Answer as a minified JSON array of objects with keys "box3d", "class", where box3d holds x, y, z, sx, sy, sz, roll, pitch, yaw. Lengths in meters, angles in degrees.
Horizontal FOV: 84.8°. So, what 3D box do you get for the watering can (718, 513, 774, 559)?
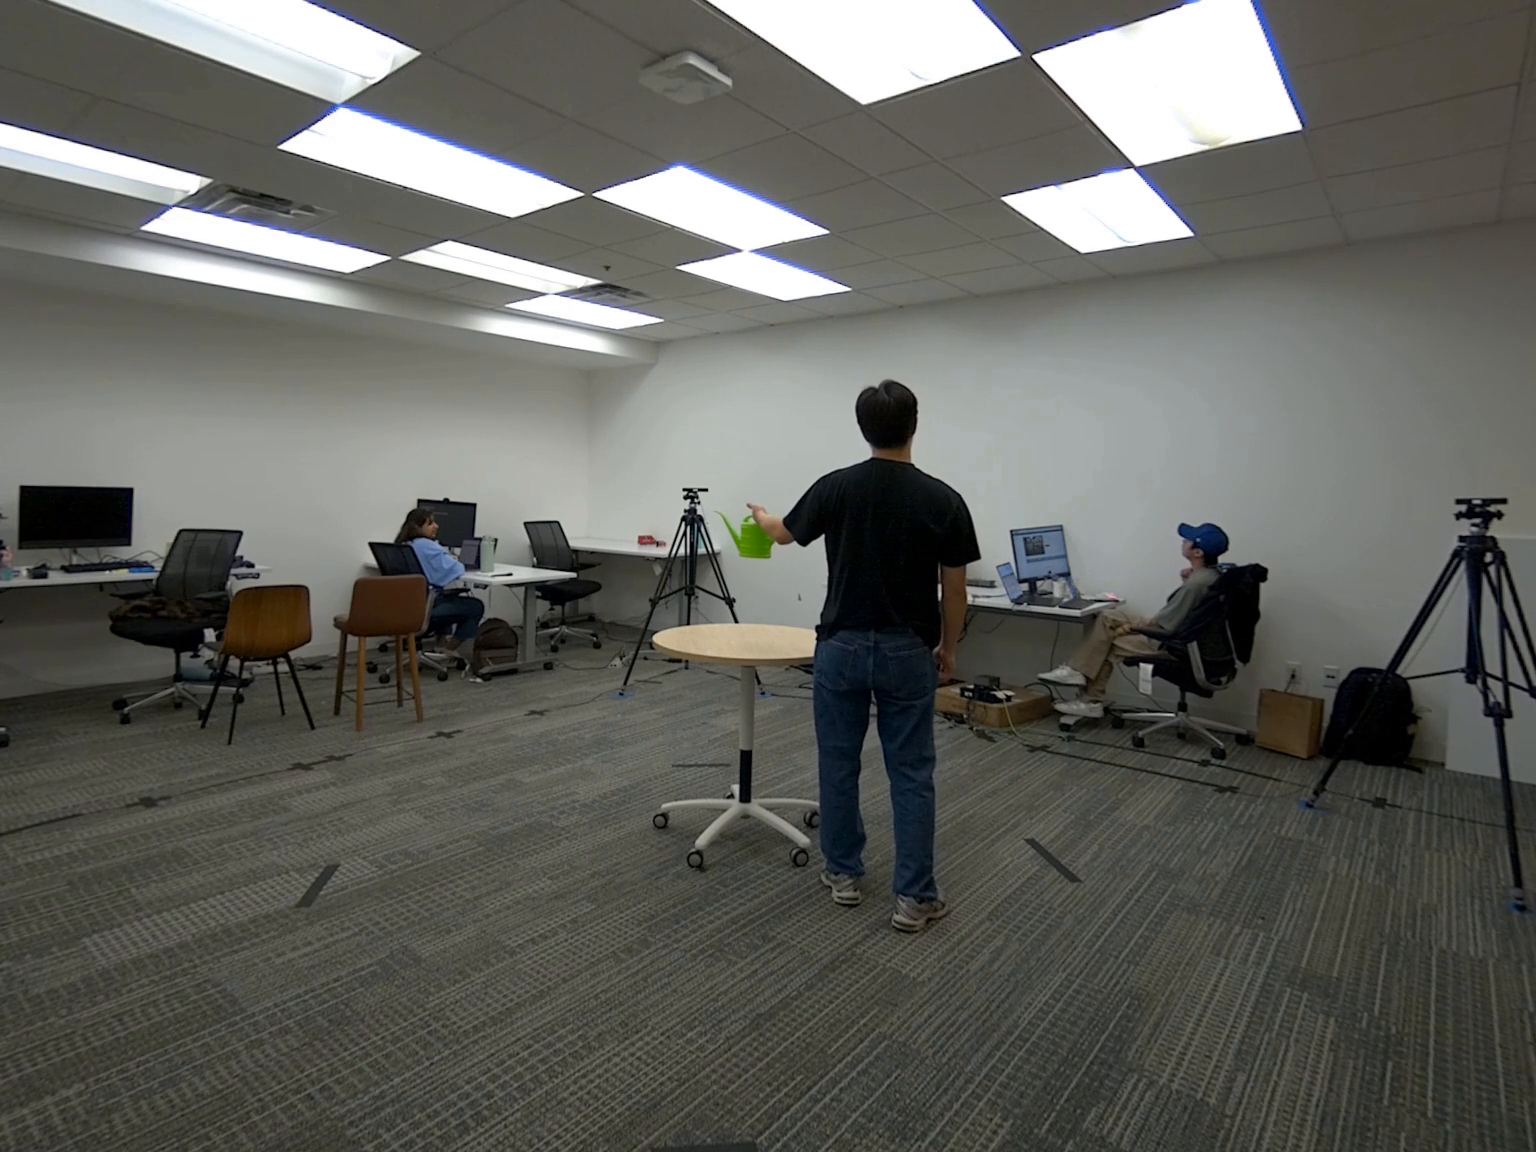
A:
[{"box3d":[-0.094,-0.167,3.409,0.287,0.176,0.095,7,4,32],"class":"watering can"}]
